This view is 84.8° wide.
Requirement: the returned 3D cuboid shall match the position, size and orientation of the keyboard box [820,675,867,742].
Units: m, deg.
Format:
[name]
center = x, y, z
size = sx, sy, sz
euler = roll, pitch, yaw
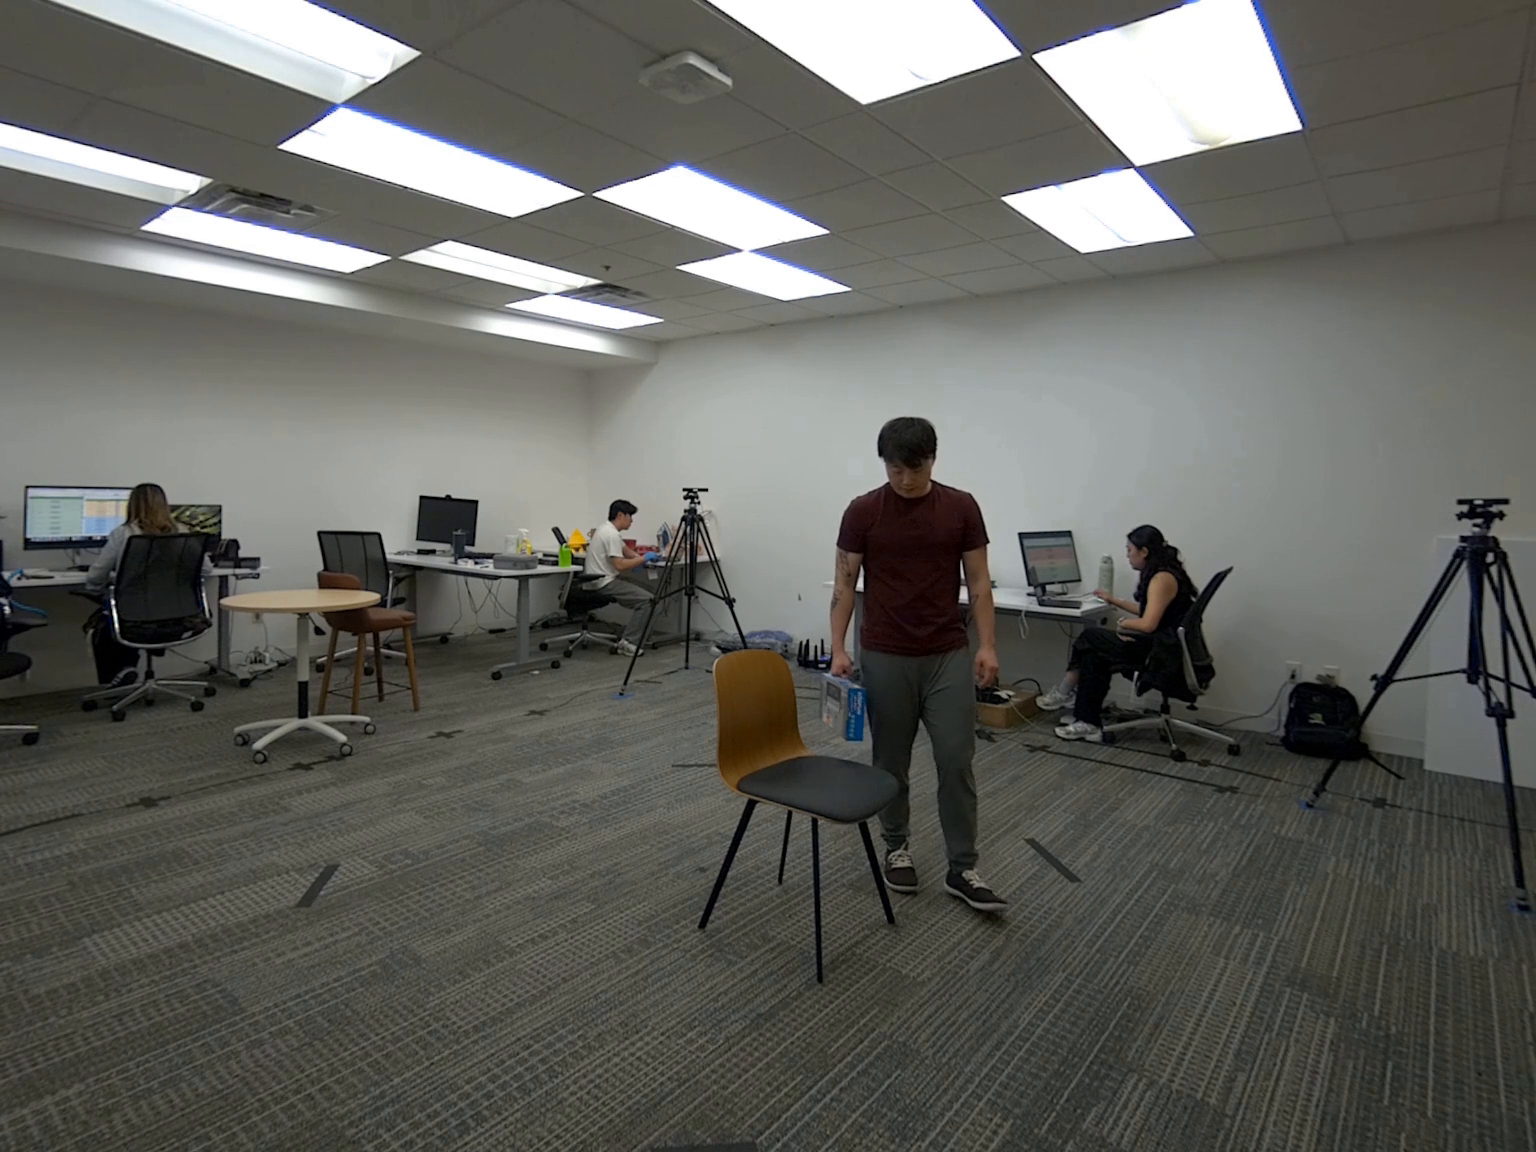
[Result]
[keyboard box]
center = 0.255, 0.451, 3.001
size = 0.058, 0.176, 0.439
euler = 3, -1, -9
